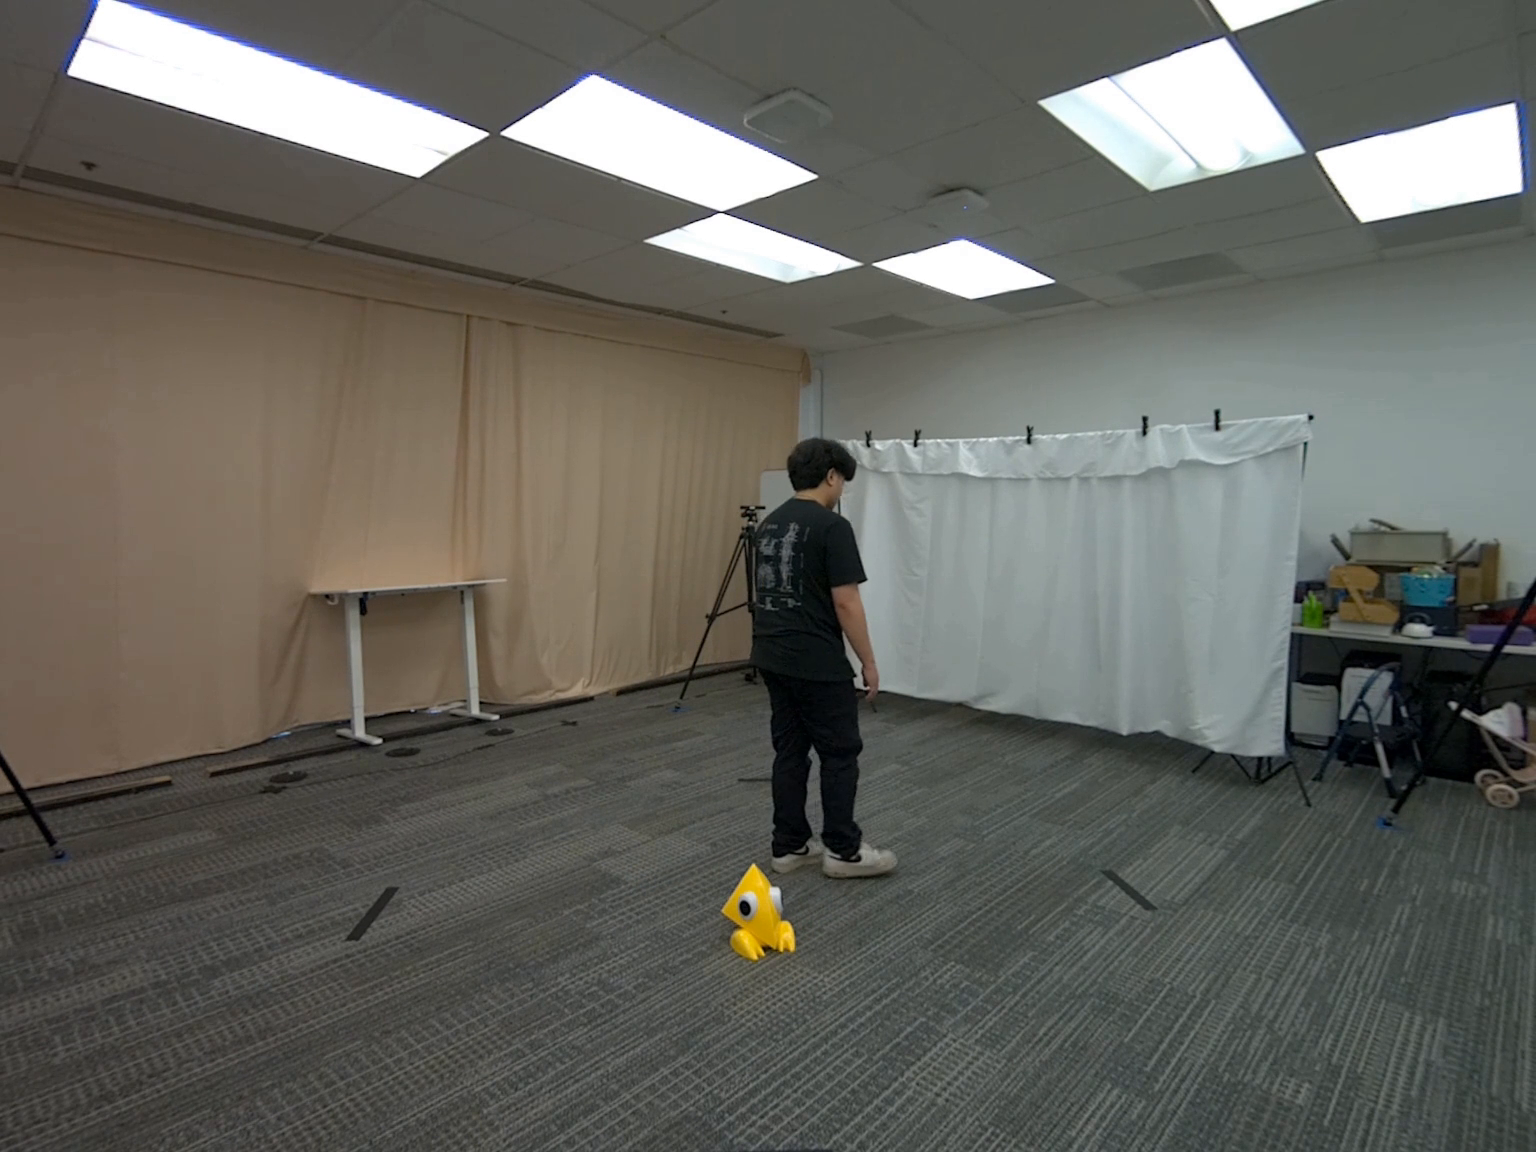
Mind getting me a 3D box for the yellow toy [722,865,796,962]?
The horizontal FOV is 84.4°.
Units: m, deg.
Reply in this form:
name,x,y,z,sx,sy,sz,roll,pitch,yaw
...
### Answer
name,x,y,z,sx,sy,sz,roll,pitch,yaw
yellow toy,-0.018,1.059,2.678,0.200,0.230,0.198,-1,5,-23
